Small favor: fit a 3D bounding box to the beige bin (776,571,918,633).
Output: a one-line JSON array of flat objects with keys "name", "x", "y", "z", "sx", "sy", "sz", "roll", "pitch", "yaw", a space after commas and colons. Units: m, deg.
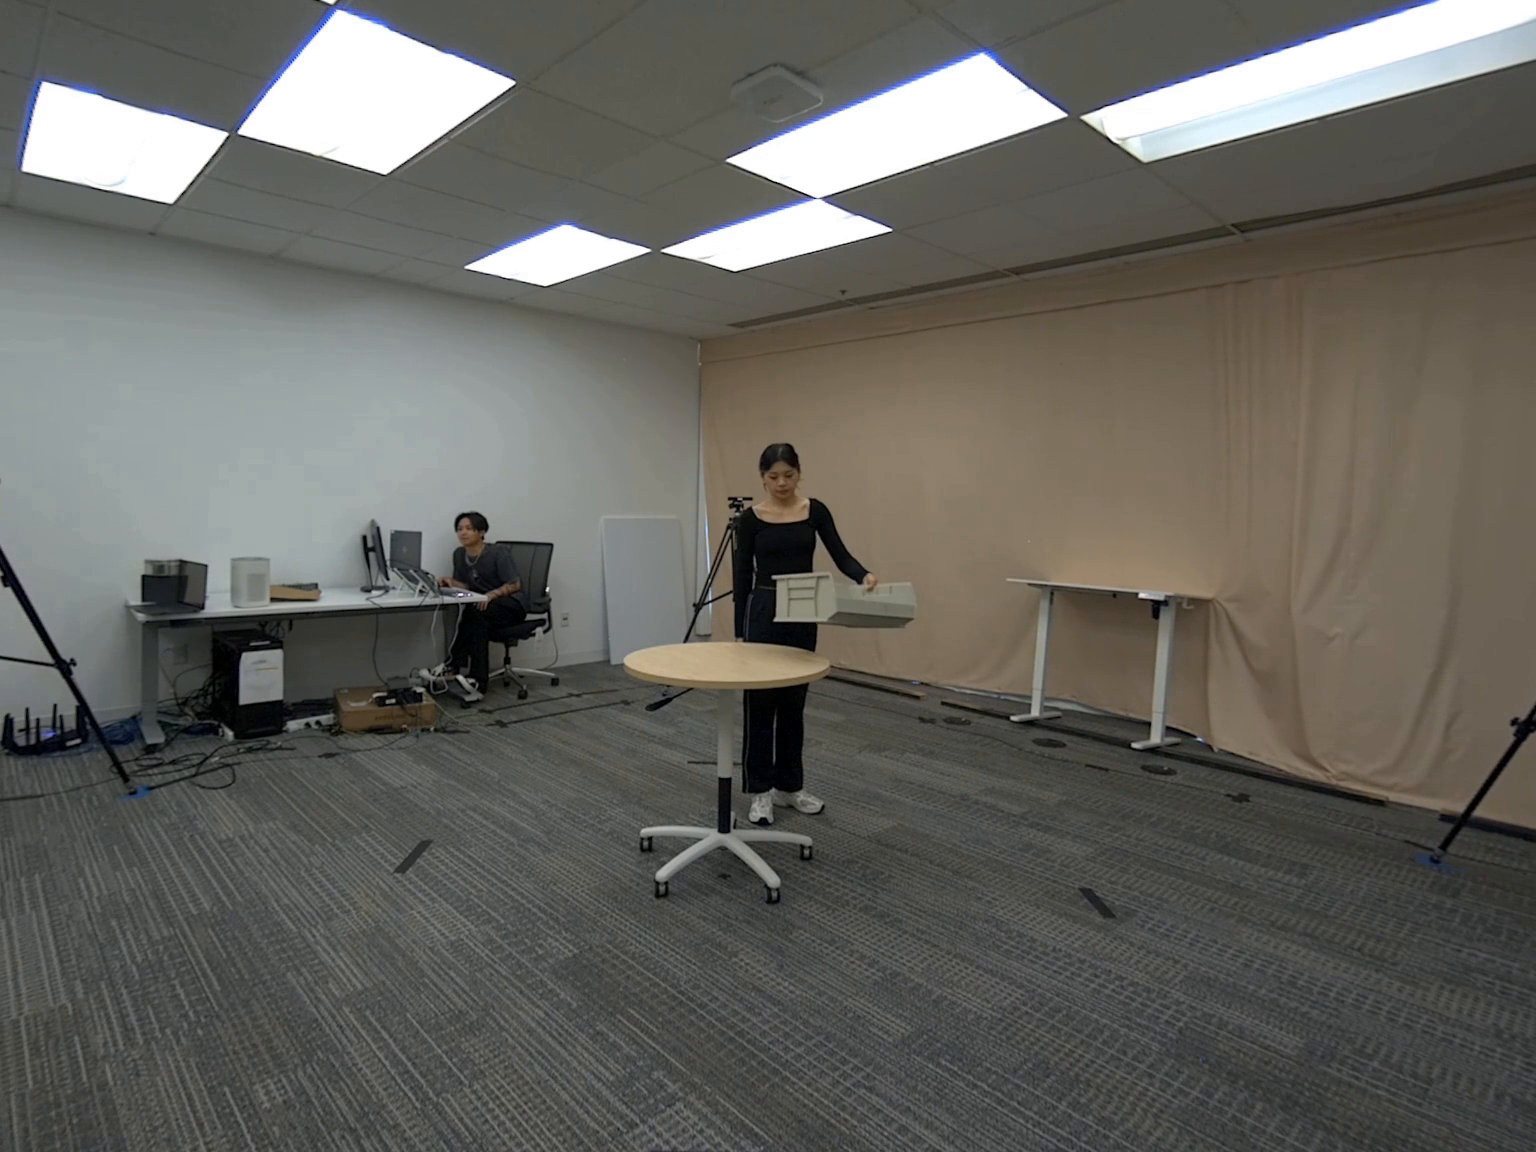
[{"name": "beige bin", "x": 0.286, "y": 0.108, "z": 3.268, "sx": 0.412, "sy": 0.190, "sz": 0.385, "roll": 7, "pitch": -8, "yaw": -36}]
